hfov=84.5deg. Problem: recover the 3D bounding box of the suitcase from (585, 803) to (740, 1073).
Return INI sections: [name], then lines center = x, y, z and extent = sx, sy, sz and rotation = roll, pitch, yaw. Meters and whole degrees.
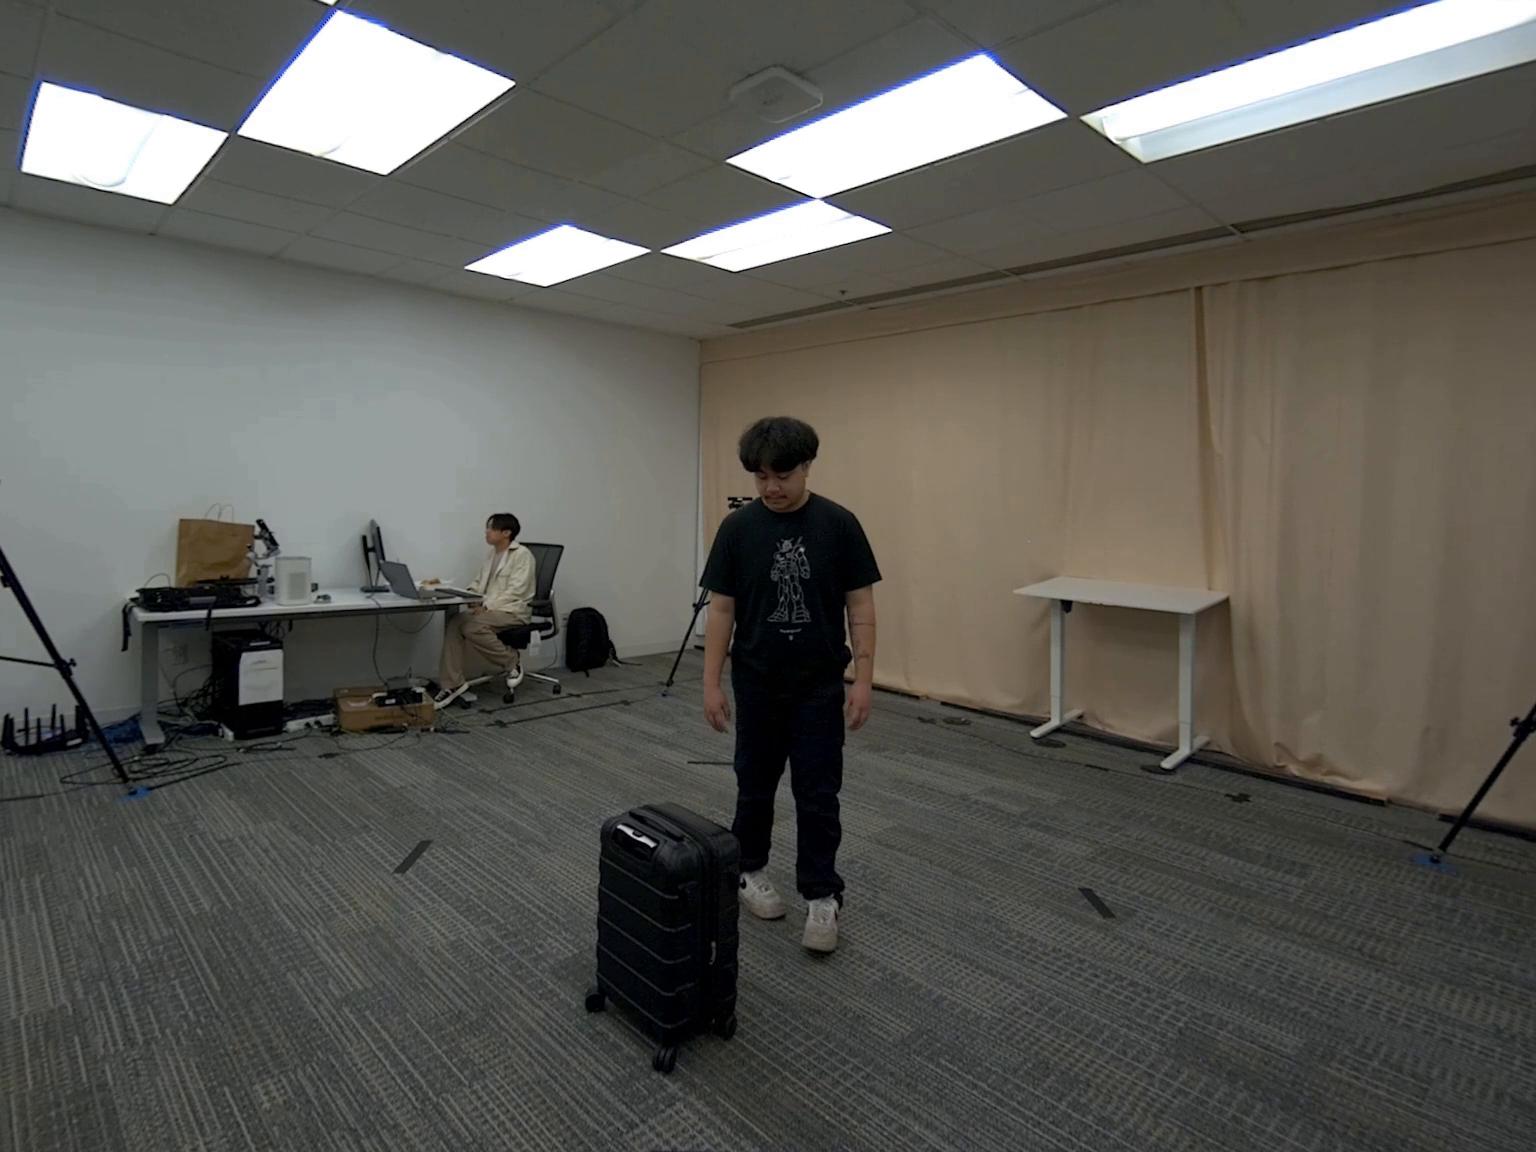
[suitcase]
center = -0.274, 0.911, 2.226
extent = 0.242, 0.548, 0.385
rotation = 0, 3, -42
